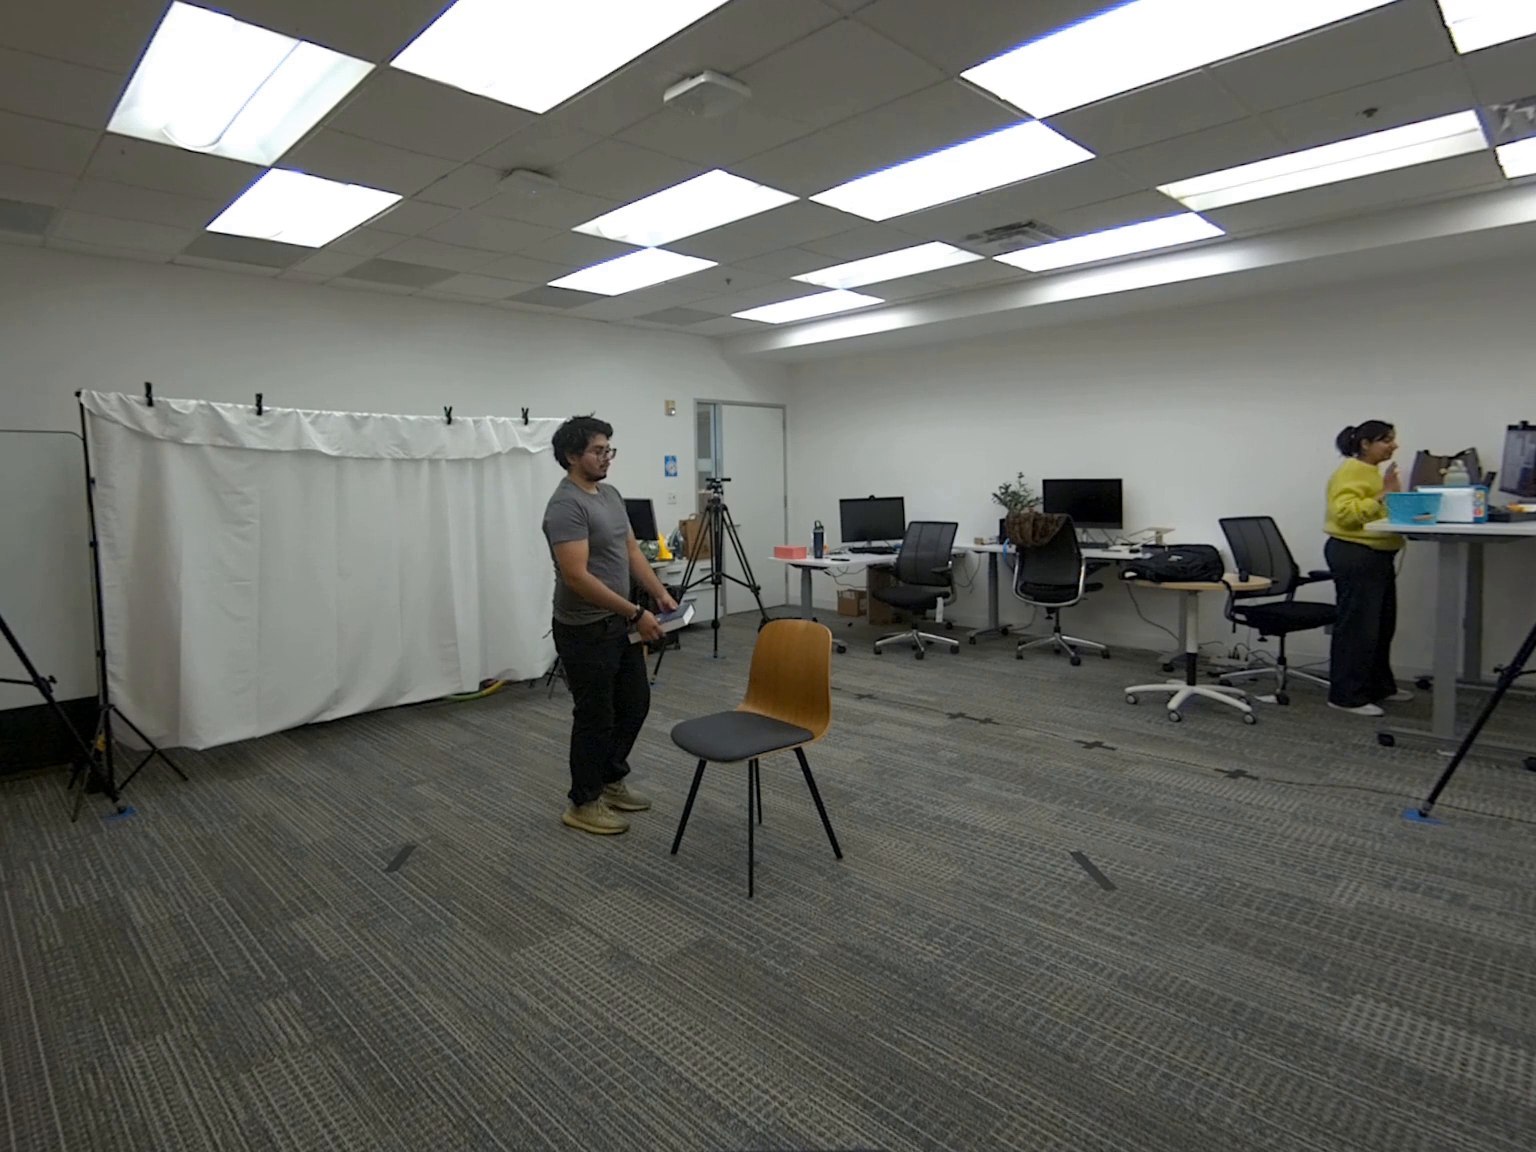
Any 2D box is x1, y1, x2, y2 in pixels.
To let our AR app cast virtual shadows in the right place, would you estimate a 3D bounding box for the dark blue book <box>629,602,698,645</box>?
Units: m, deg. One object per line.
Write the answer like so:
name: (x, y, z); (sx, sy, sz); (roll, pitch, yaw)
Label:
dark blue book: (-0.406, 0.184, 3.324); (0.246, 0.044, 0.165); (-20, 13, 6)
